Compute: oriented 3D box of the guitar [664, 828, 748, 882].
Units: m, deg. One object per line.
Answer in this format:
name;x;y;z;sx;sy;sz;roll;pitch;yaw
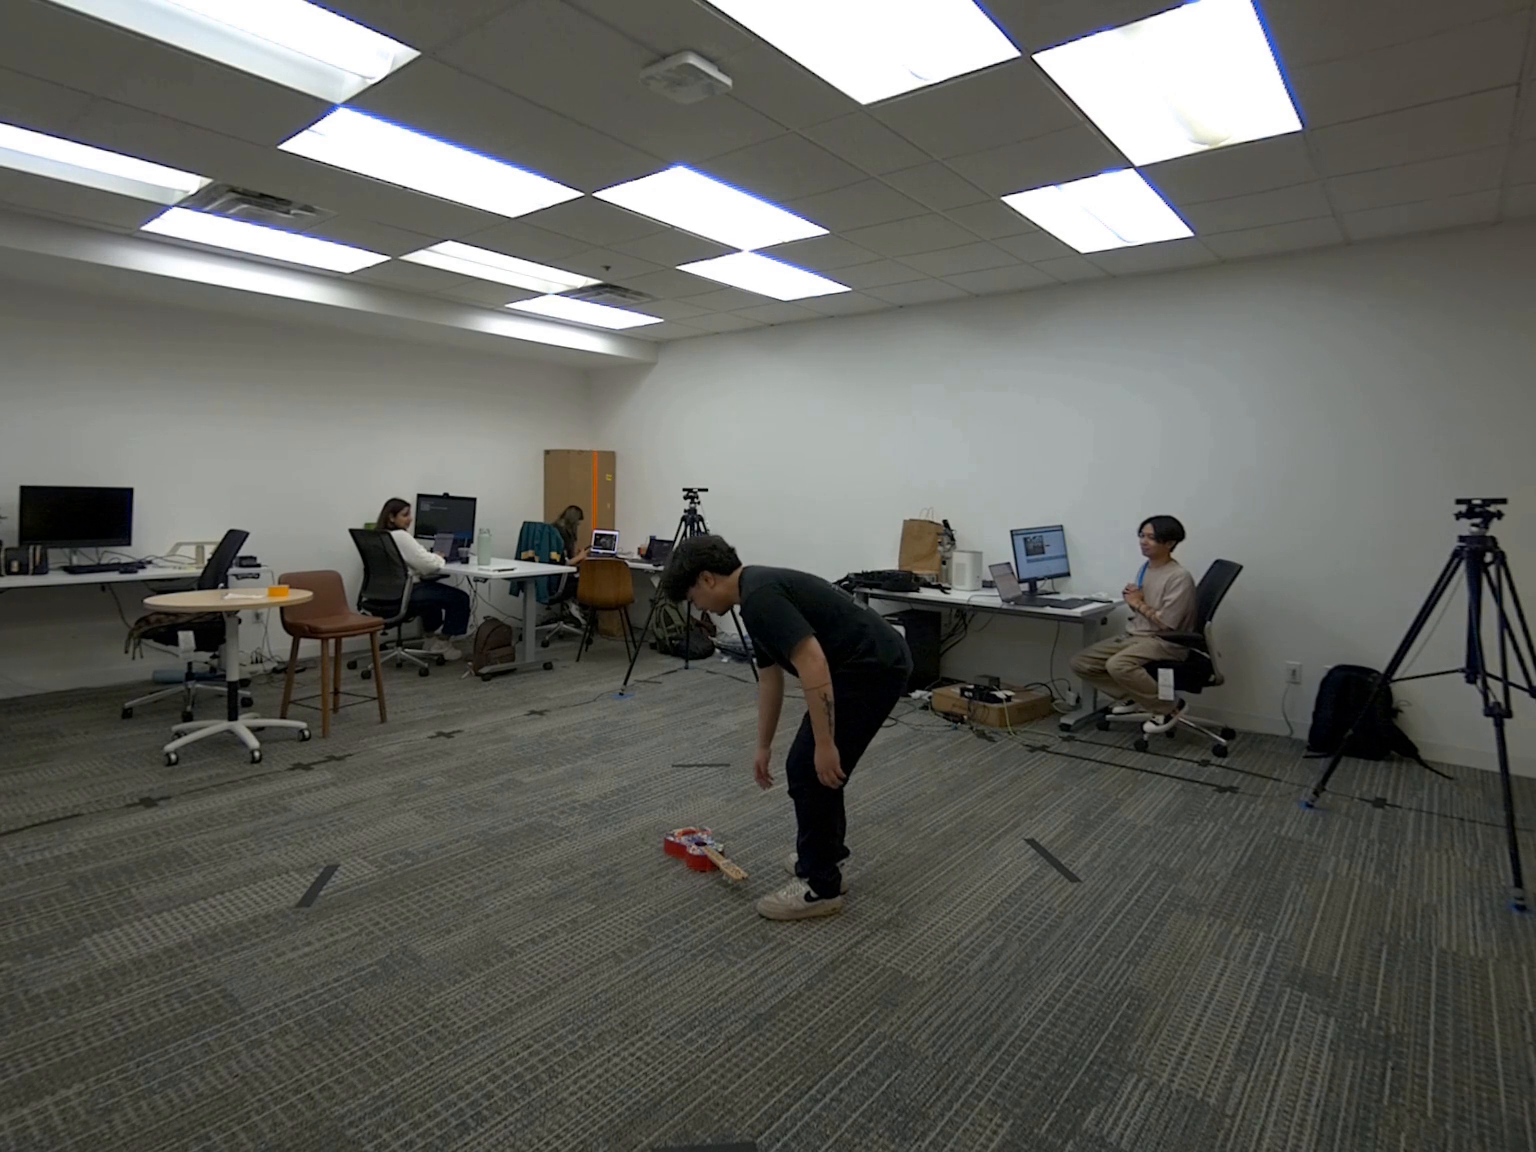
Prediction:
guitar;-0.248;1.032;3.114;0.189;0.070;0.509;-1;5;-21
